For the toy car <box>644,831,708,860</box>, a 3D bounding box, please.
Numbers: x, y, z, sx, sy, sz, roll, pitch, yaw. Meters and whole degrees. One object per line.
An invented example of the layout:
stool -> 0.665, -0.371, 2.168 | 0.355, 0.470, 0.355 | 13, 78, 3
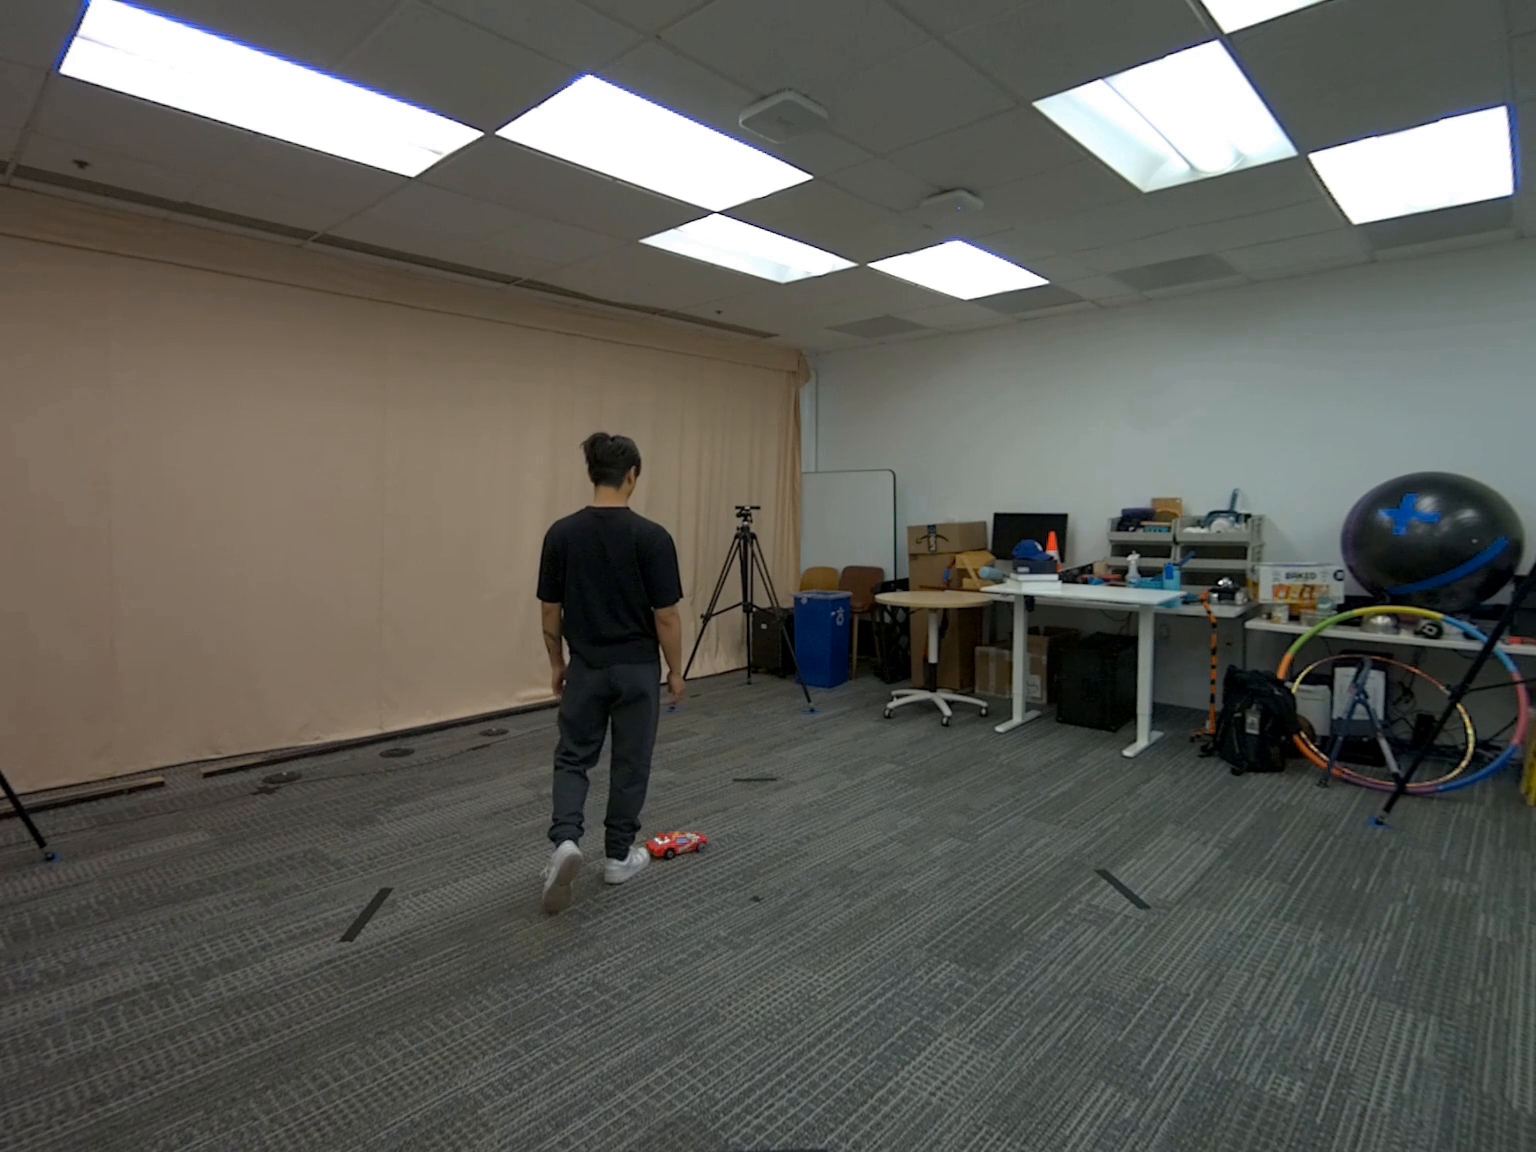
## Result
toy car -> -0.379, 1.082, 3.385 | 0.247, 0.083, 0.134 | 10, -2, -29
